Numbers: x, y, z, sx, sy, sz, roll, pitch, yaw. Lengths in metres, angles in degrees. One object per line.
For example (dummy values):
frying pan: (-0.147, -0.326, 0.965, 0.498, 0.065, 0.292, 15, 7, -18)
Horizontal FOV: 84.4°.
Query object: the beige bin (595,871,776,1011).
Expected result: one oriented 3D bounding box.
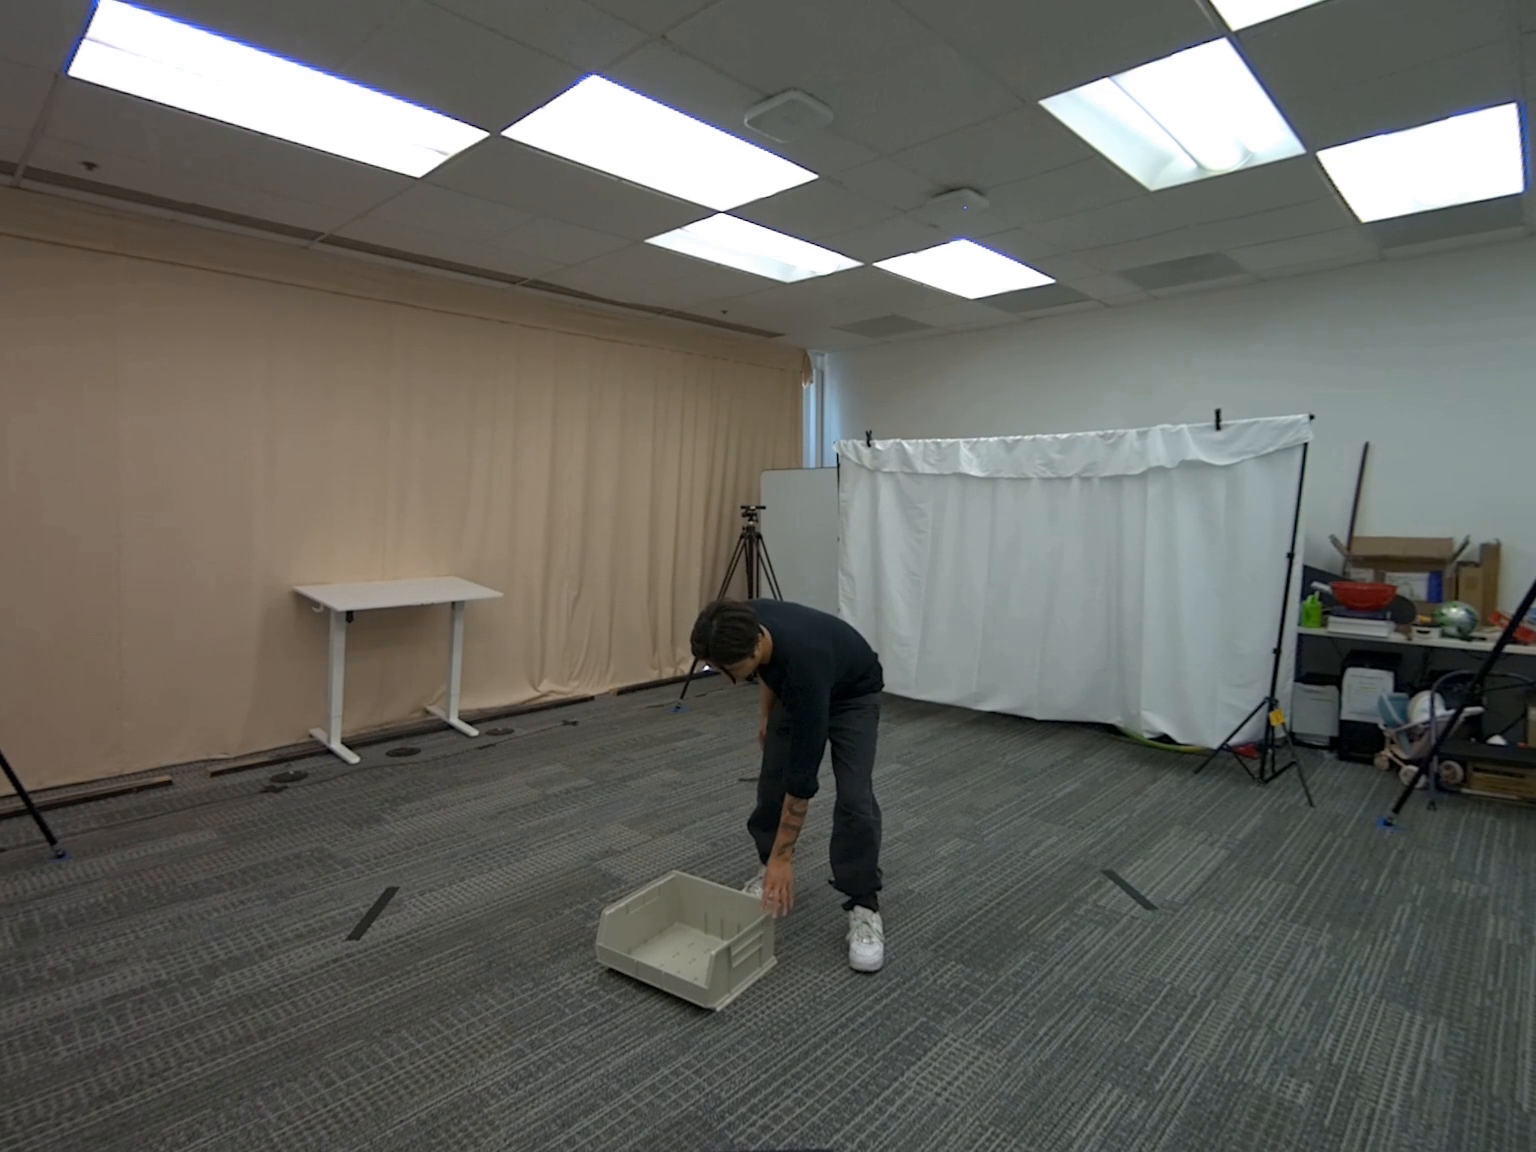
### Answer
beige bin: (-0.238, 1.096, 2.537, 0.435, 0.188, 0.366, 3, 4, 34)
